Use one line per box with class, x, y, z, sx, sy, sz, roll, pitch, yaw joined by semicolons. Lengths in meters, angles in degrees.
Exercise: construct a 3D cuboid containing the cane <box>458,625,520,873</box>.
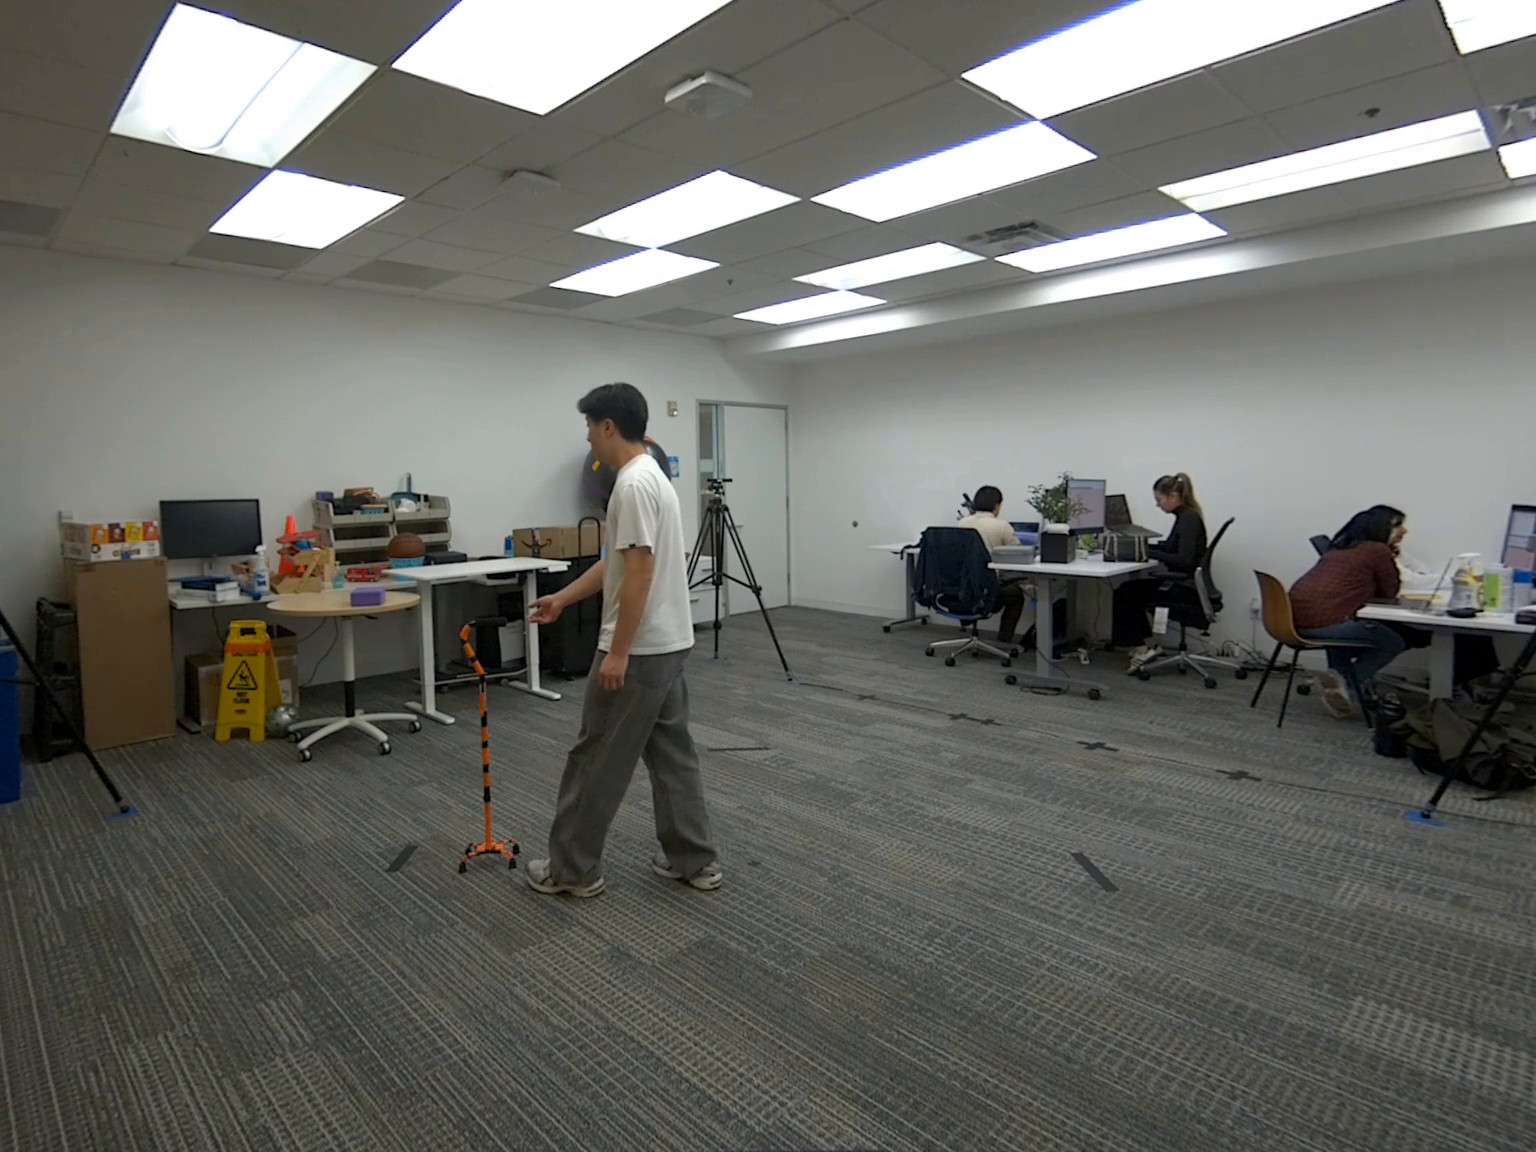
cane;-1.037;0.610;3.141;0.205;0.904;0.153;-2;4;-10
